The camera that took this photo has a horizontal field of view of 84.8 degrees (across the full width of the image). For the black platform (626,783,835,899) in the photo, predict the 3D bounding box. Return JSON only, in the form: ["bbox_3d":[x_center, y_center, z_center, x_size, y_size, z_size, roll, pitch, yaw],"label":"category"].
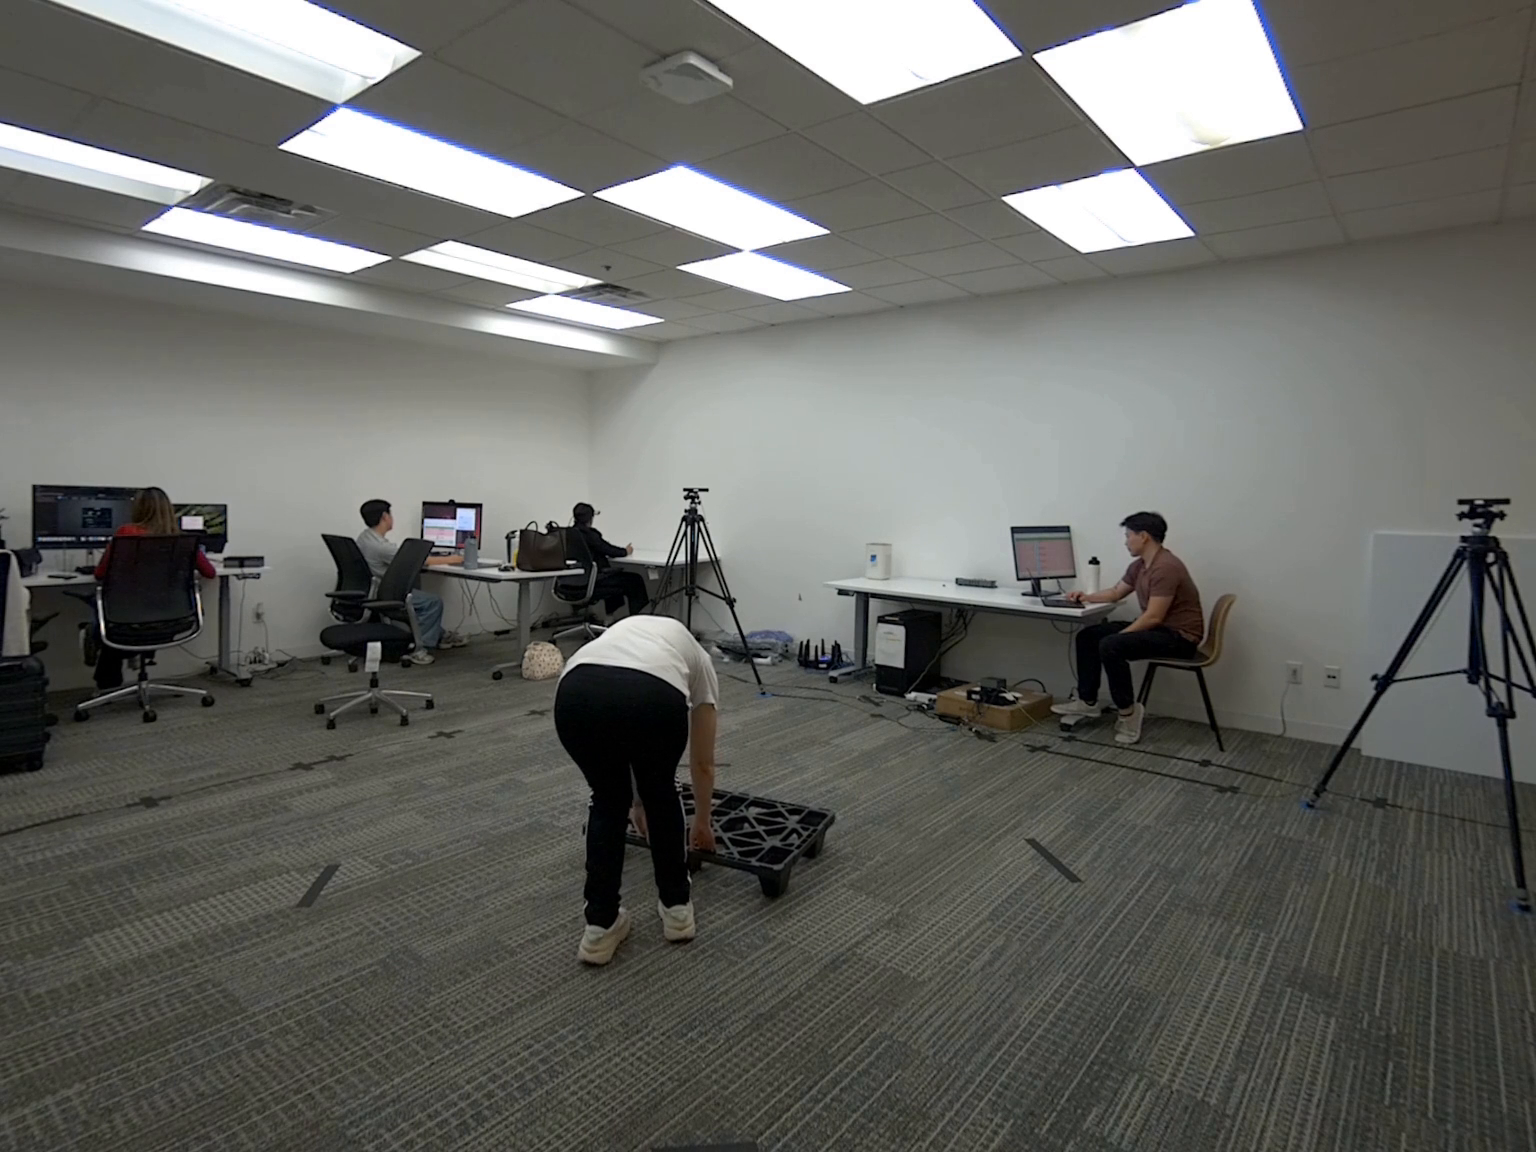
[{"bbox_3d":[-0.218,0.989,3.248,0.827,0.143,0.592,3,6,25],"label":"black platform"}]
